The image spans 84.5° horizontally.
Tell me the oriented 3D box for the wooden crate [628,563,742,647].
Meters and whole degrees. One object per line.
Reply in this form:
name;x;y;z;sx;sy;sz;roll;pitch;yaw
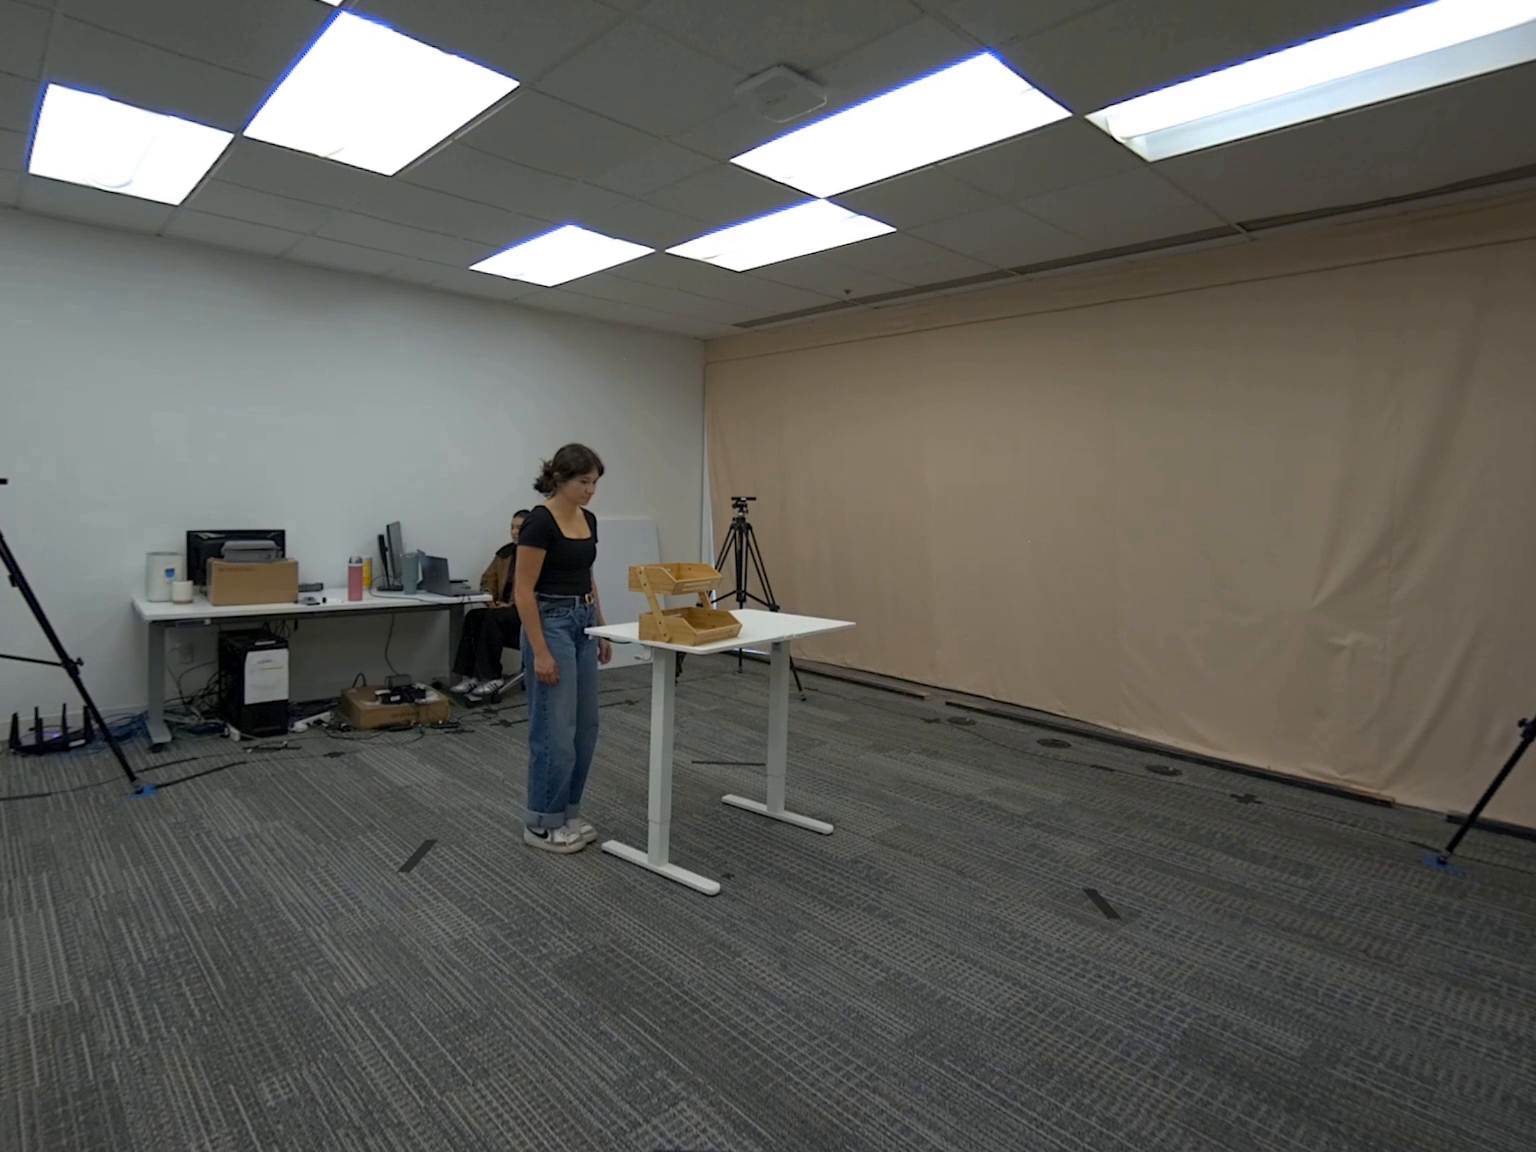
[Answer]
wooden crate;-0.301;0.091;3.052;0.308;0.273;0.318;3;4;30
